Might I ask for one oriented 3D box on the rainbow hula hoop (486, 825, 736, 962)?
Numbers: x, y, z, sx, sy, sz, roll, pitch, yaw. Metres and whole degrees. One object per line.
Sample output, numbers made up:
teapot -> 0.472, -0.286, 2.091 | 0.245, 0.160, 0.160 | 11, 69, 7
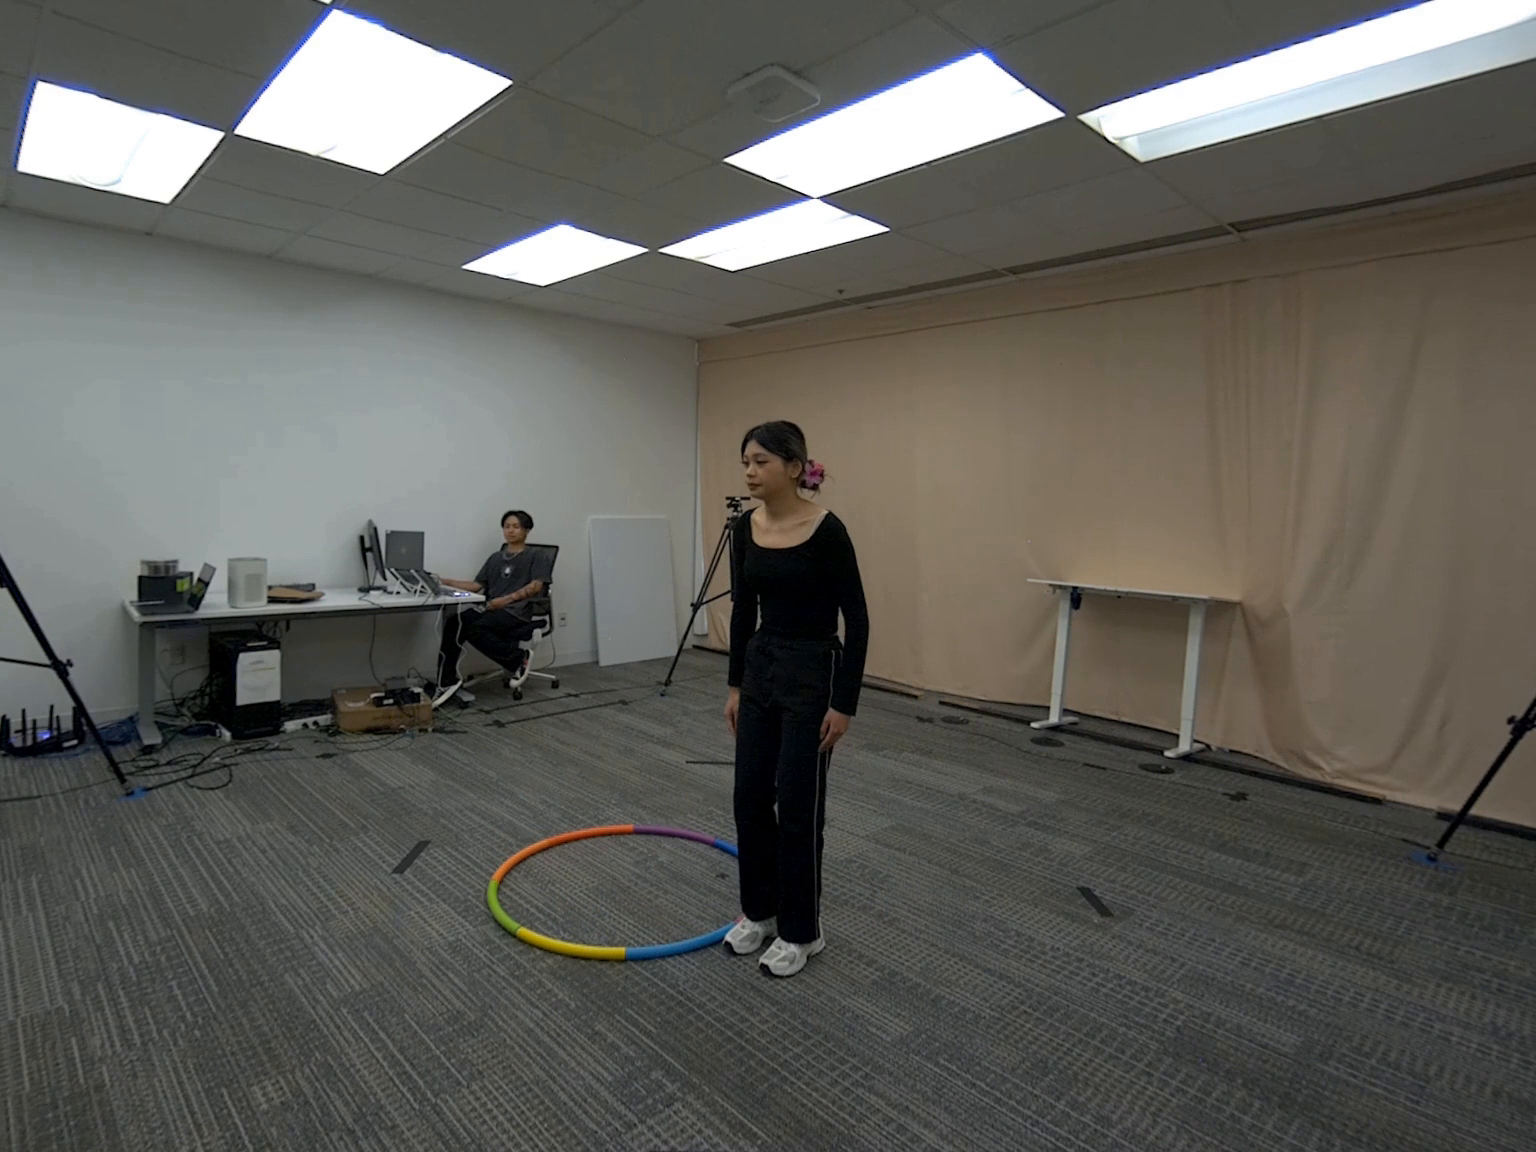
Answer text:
rainbow hula hoop -> -0.492, 1.076, 3.004 | 0.978, 0.035, 0.982 | 1, 5, -1
